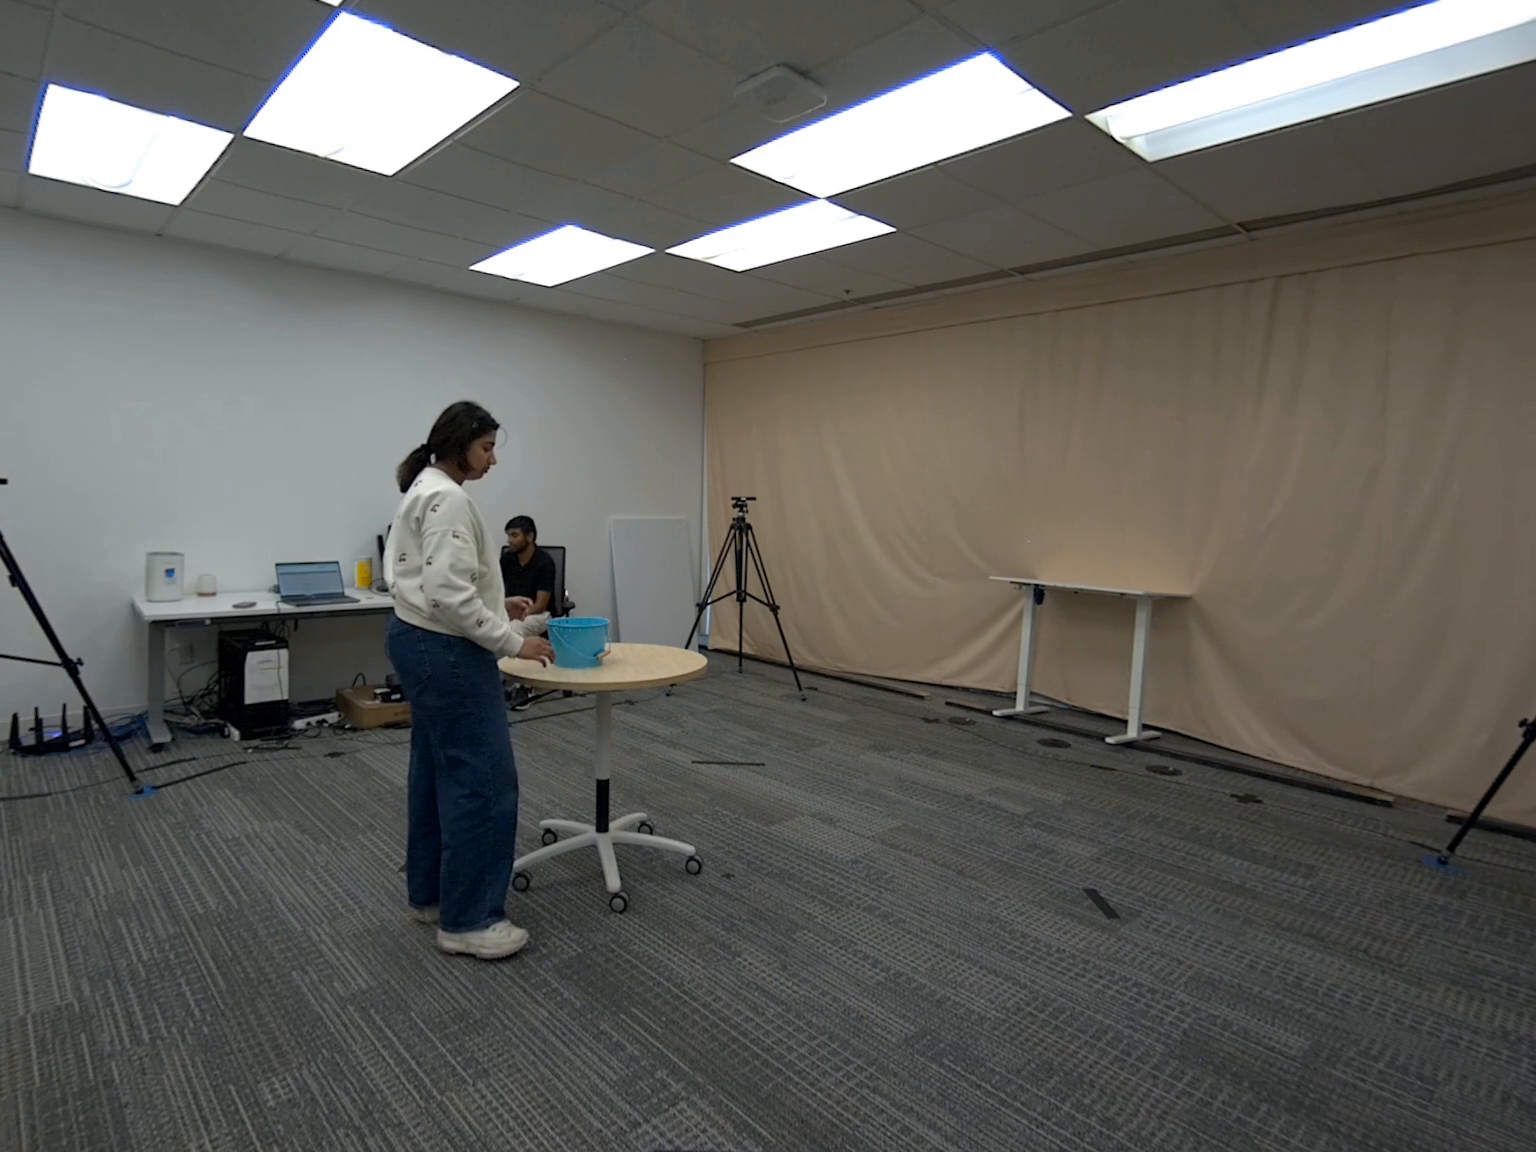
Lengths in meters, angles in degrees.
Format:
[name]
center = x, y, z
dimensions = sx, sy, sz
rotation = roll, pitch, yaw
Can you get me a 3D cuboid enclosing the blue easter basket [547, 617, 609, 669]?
[blue easter basket]
center = -0.700, 0.246, 3.038
dimensions = 0.243, 0.155, 0.244
rotation = -1, 4, -1
